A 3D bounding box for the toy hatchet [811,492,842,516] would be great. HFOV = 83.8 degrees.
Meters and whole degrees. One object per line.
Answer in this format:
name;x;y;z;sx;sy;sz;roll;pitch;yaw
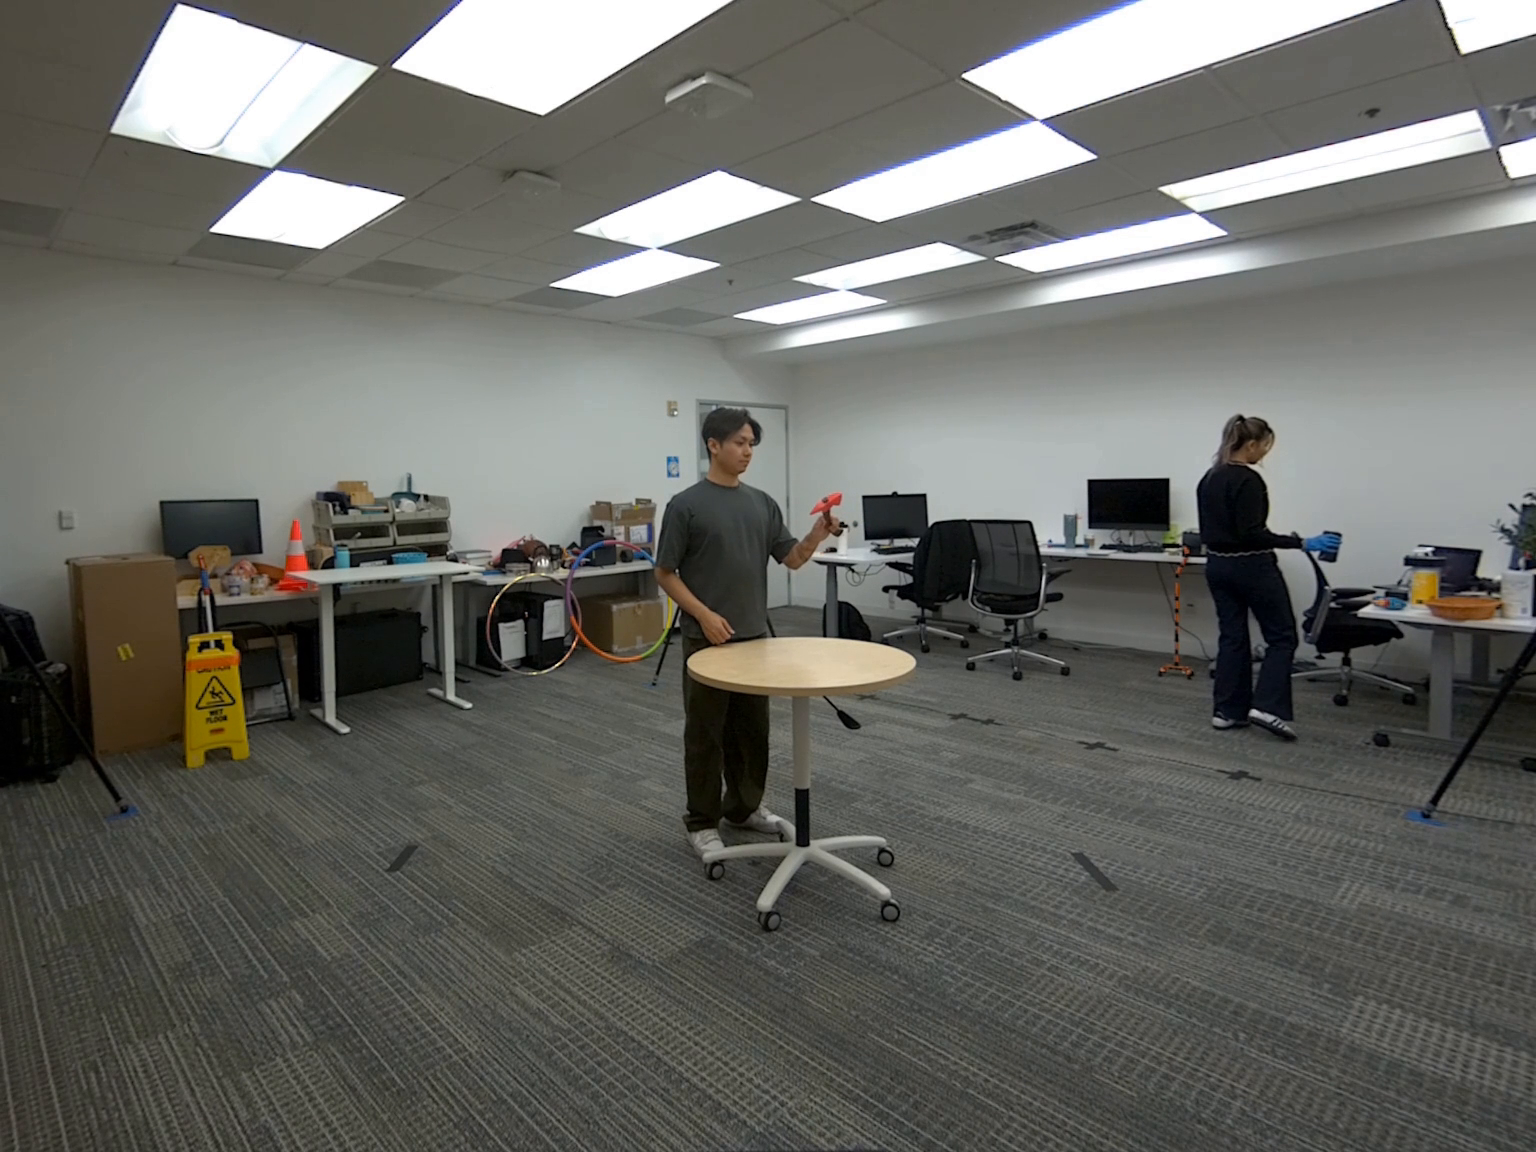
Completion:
toy hatchet;0.237;-0.228;3.065;0.030;0.131;0.261;50;9;28
